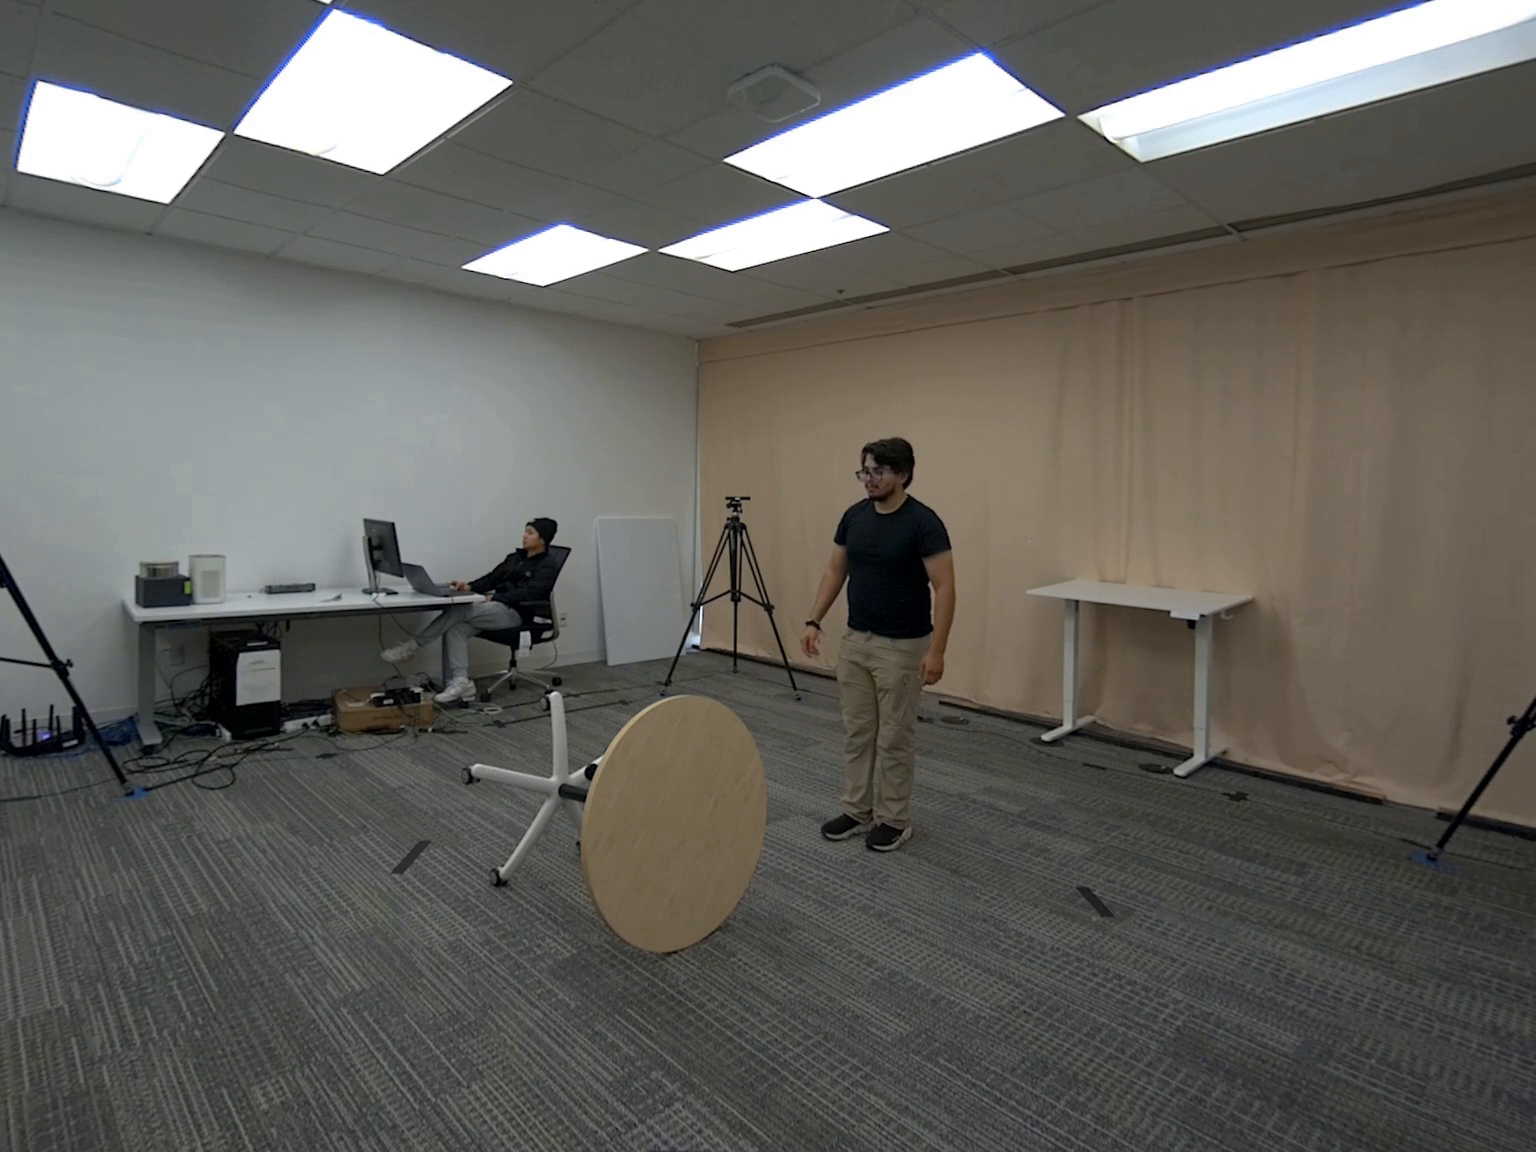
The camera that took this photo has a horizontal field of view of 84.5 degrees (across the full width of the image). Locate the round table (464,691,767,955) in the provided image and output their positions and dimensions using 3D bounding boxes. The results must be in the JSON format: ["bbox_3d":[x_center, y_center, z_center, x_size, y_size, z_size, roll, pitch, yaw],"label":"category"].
[{"bbox_3d":[-0.565,0.768,2.897,0.804,0.785,0.767,-3,0,42],"label":"round table"}]
